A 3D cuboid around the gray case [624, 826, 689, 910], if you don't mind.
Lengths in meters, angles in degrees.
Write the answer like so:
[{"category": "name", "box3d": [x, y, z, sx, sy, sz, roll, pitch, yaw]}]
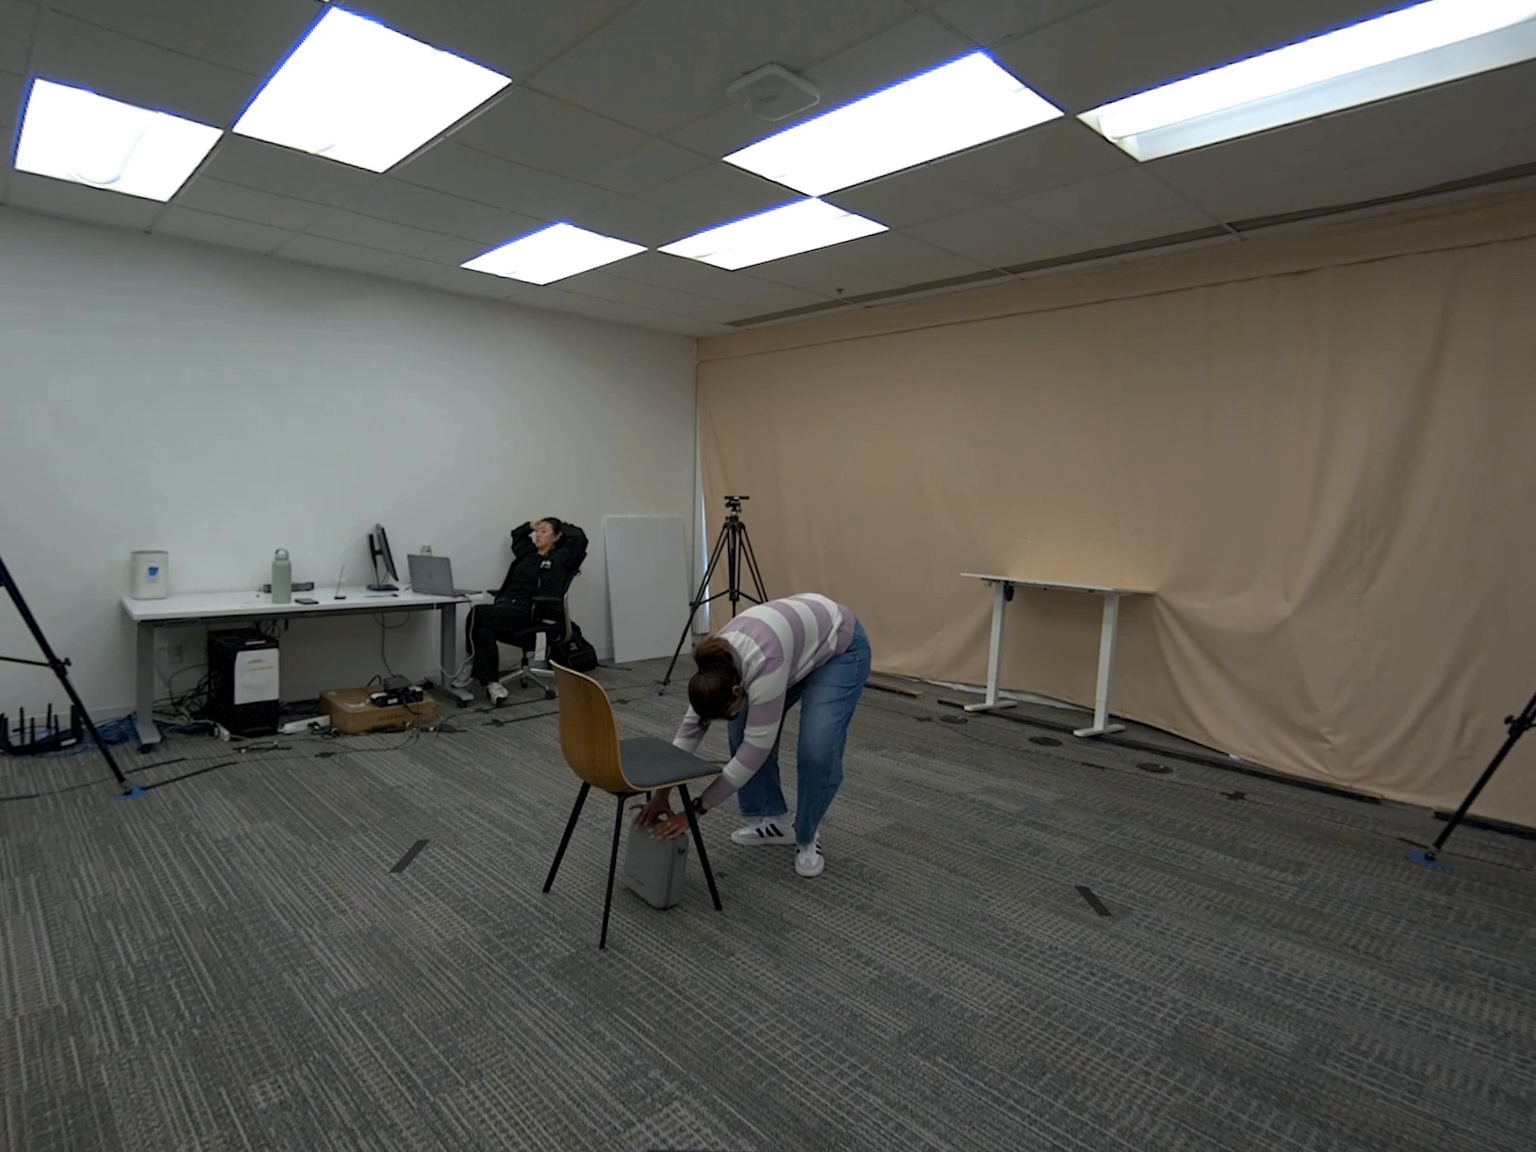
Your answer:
[{"category": "gray case", "box3d": [-0.406, 0.988, 2.931, 0.101, 0.261, 0.263, 9, 0, -39]}]
